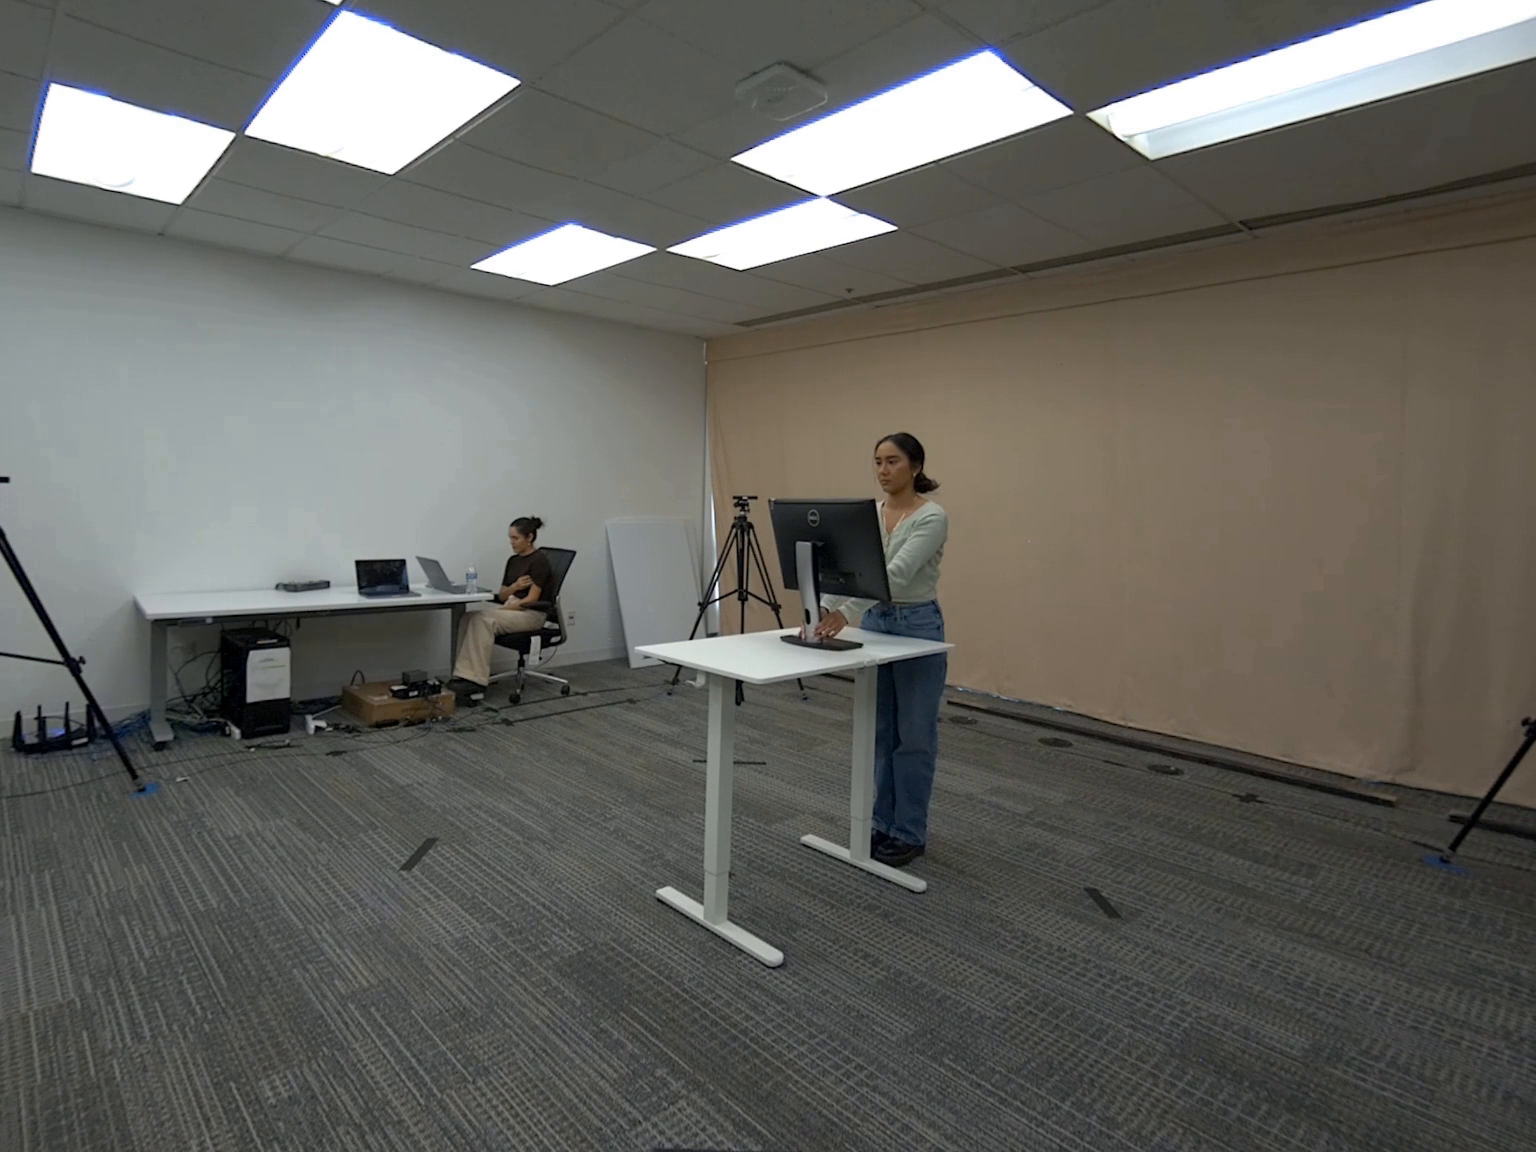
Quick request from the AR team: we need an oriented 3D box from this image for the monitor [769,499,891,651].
[{"bbox_3d":[0.165,-0.009,2.941,0.183,0.521,0.553,-2,5,-41],"label":"monitor"}]
